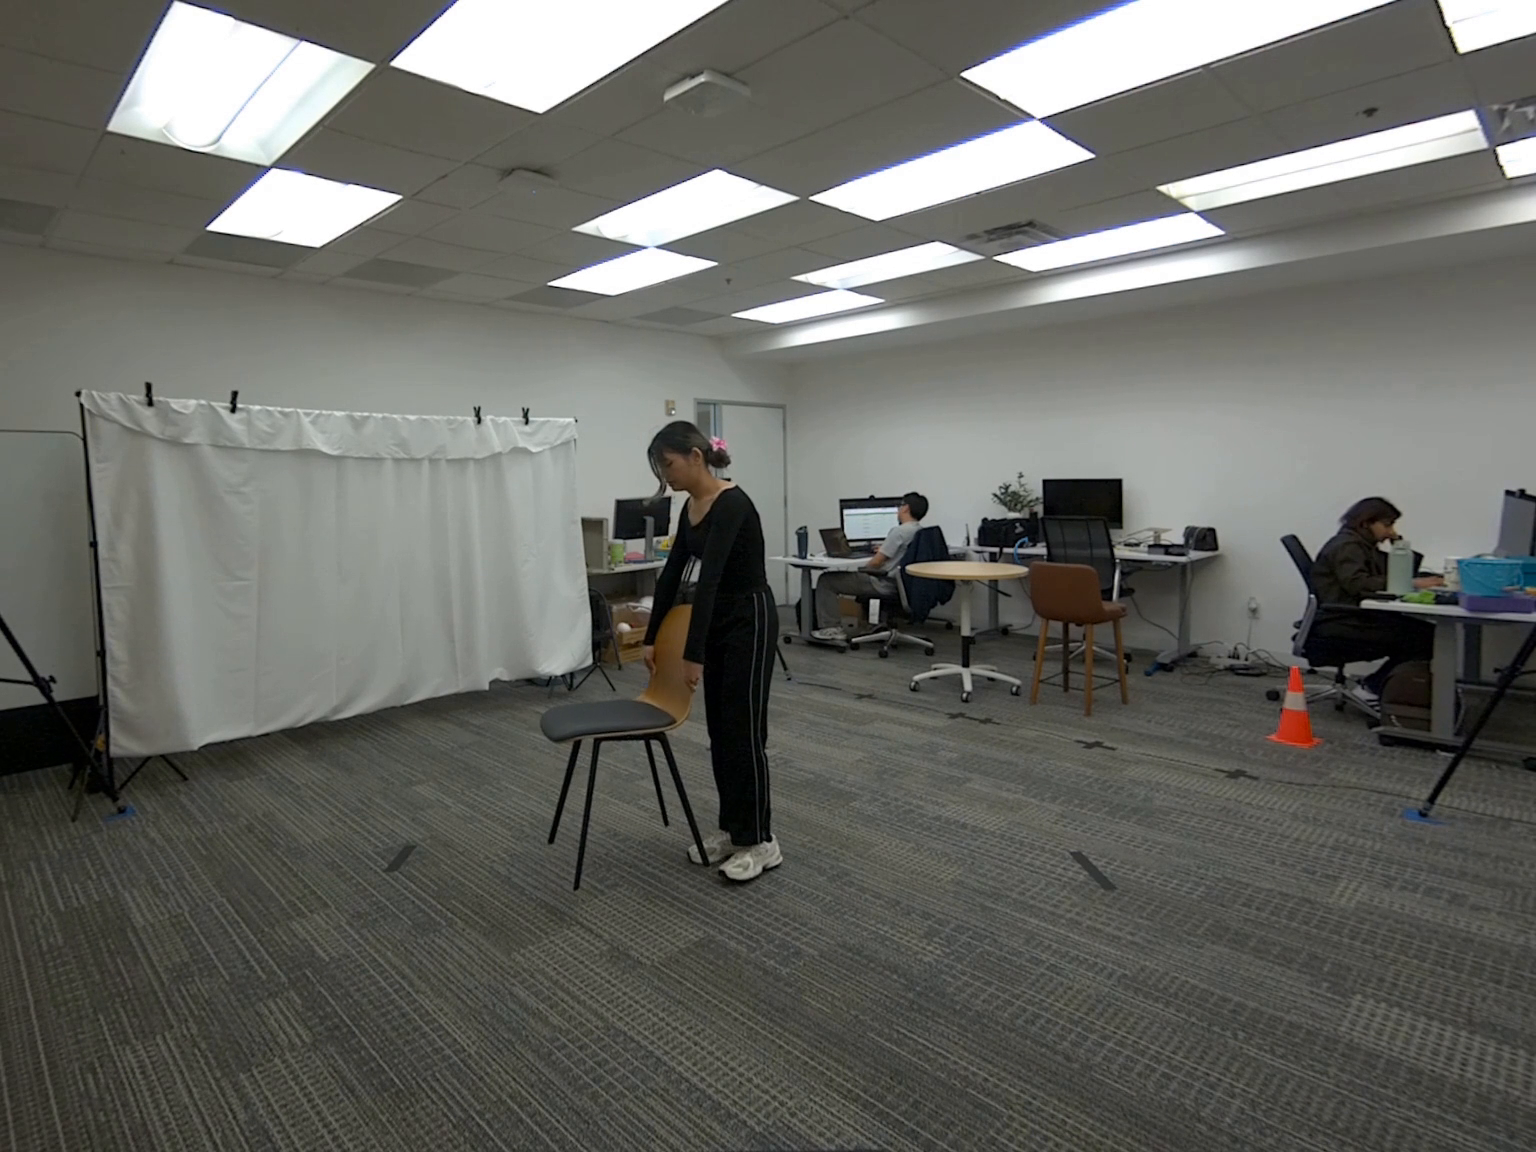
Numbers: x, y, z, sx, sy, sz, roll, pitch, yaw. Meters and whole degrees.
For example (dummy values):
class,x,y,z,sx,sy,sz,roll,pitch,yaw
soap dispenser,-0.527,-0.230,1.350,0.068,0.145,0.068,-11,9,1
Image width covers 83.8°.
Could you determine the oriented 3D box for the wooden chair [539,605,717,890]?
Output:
class,x,y,z,sx,sy,sz,roll,pitch,yaw
wooden chair,-0.500,0.538,2.925,0.512,0.878,0.488,3,-1,-23
